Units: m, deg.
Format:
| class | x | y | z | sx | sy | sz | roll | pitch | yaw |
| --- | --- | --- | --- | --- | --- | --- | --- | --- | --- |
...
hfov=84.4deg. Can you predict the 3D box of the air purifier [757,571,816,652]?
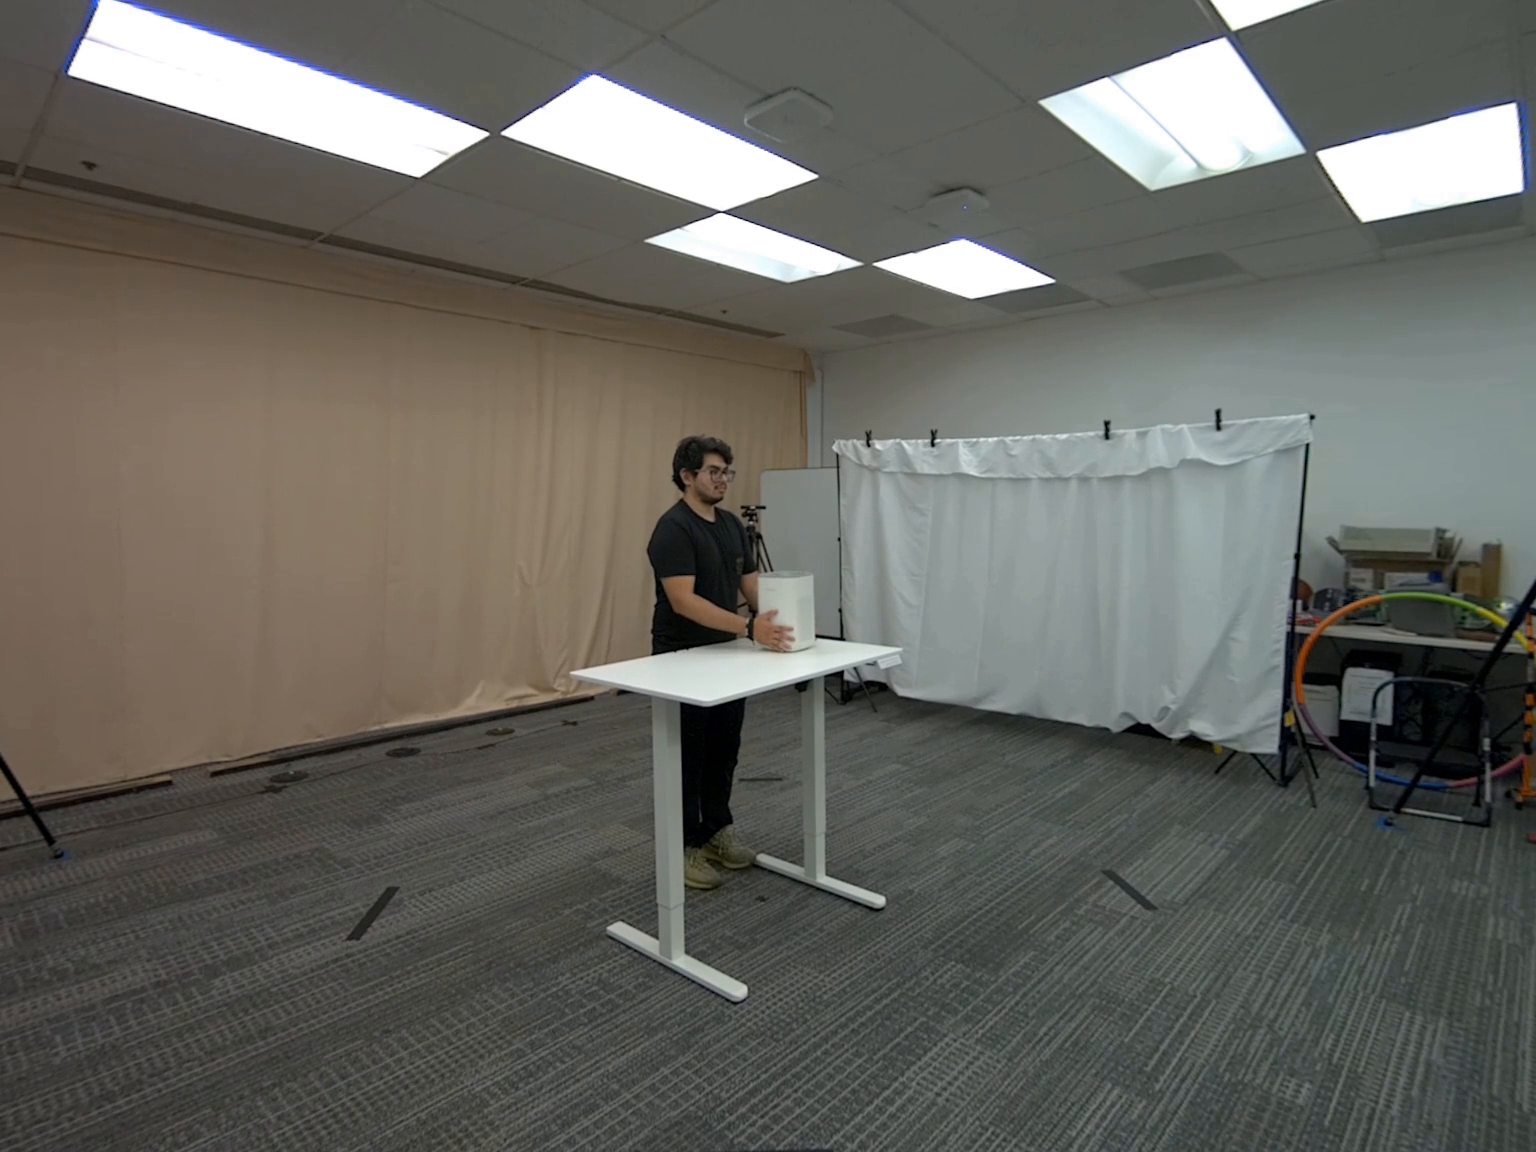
| class | x | y | z | sx | sy | sz | roll | pitch | yaw |
| --- | --- | --- | --- | --- | --- | --- | --- | --- | --- |
| air purifier | 0.074 | 0.121 | 2.976 | 0.176 | 0.265 | 0.166 | 1 | 4 | 38 |
